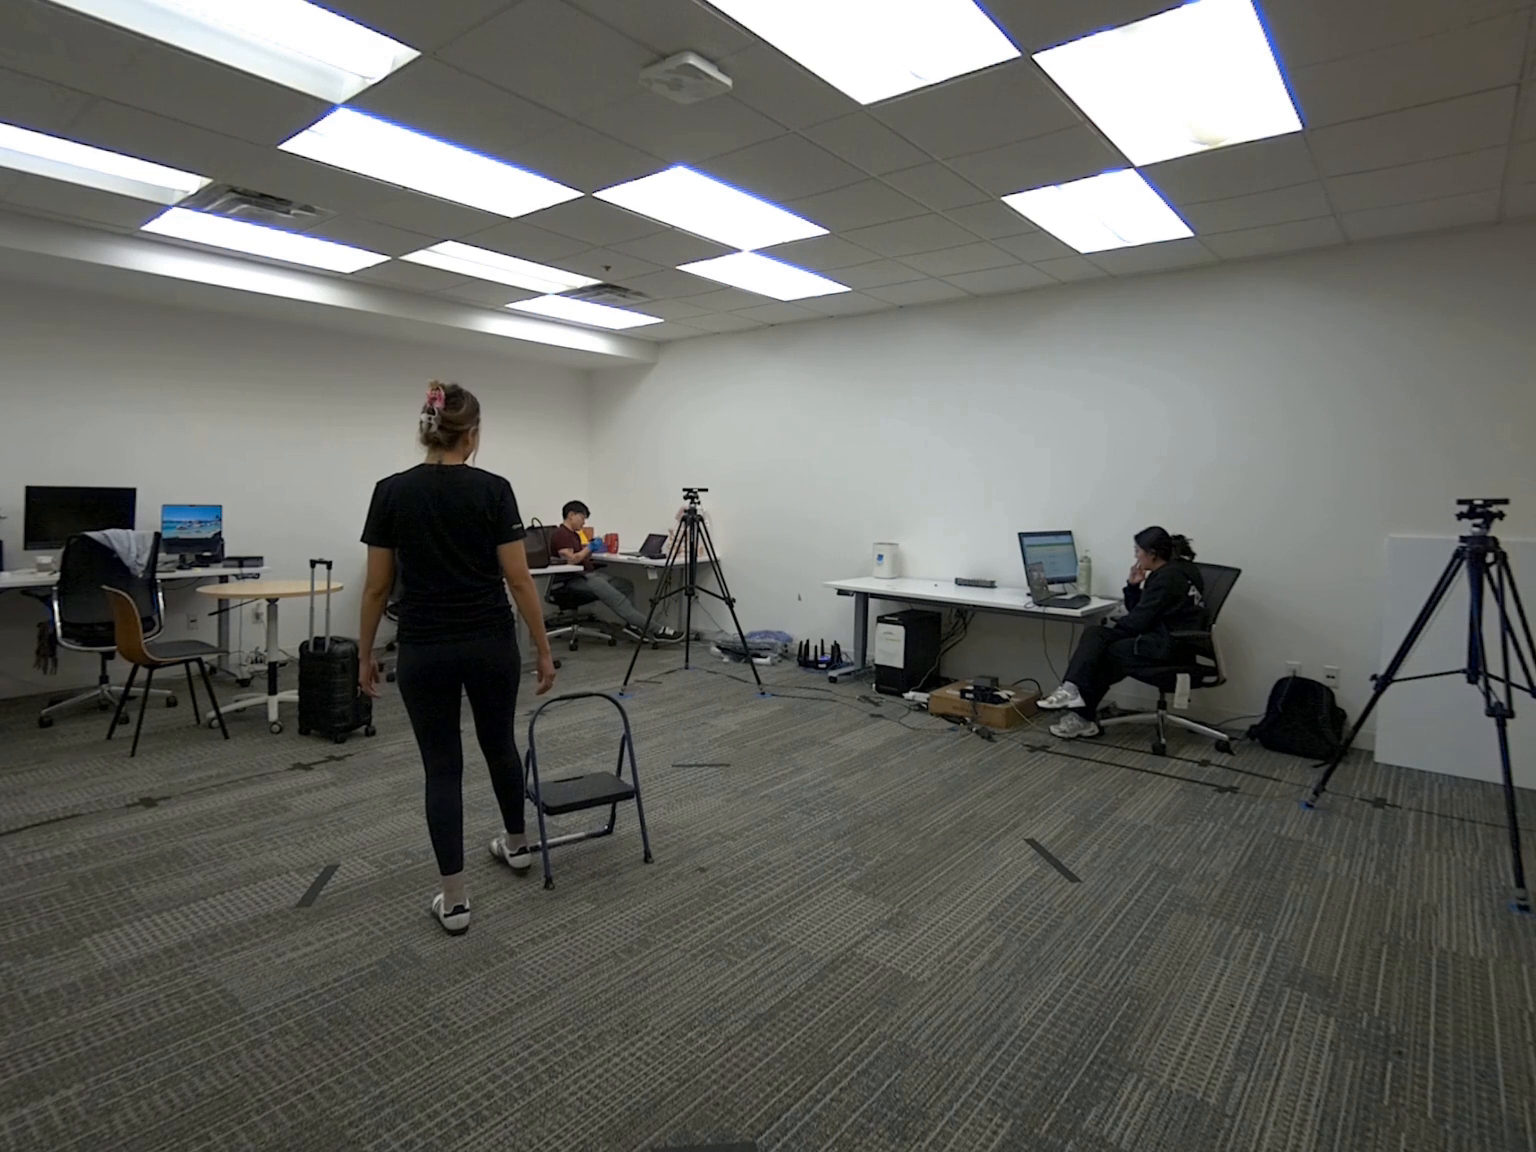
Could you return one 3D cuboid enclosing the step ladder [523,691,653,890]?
[{"bbox_3d":[-0.695,0.753,3.172,0.418,0.604,0.361,-1,4,-36],"label":"step ladder"}]
